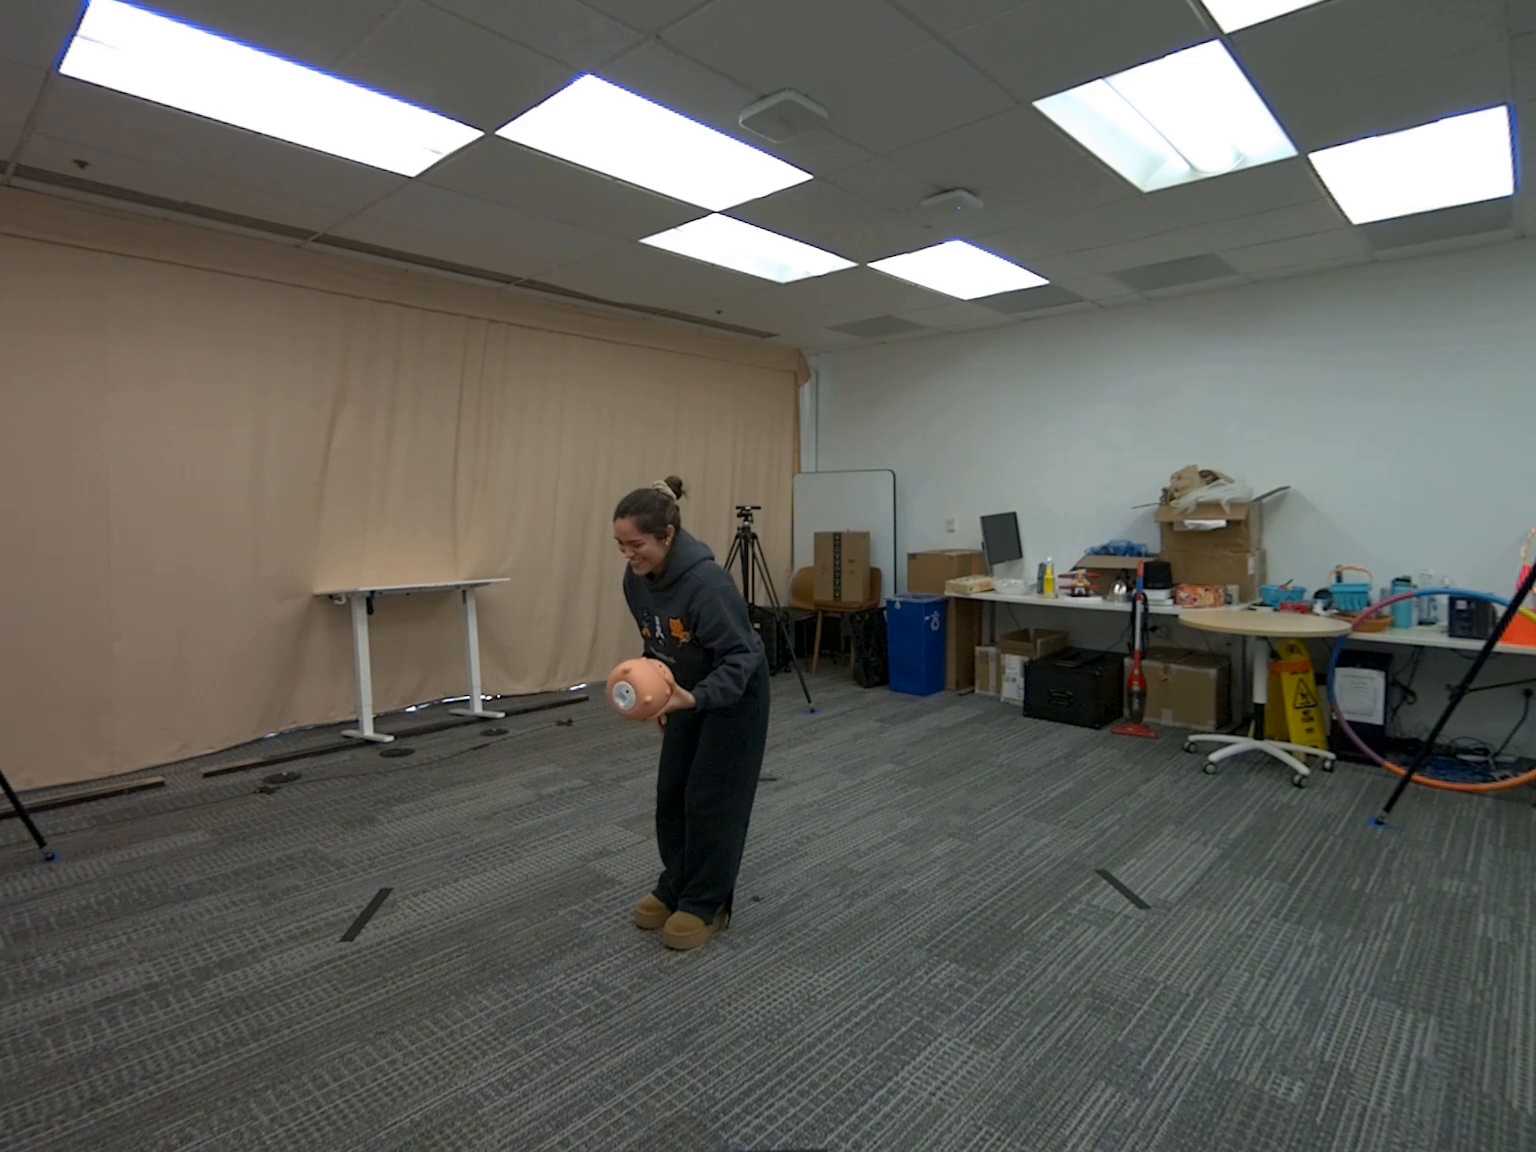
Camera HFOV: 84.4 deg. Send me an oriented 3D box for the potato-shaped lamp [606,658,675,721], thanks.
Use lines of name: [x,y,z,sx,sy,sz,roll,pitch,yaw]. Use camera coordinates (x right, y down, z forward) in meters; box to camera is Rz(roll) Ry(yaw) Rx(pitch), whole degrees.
potato-shaped lamp: [-0.330,0.310,2.348,0.173,0.167,0.193,-46,-15,31]
